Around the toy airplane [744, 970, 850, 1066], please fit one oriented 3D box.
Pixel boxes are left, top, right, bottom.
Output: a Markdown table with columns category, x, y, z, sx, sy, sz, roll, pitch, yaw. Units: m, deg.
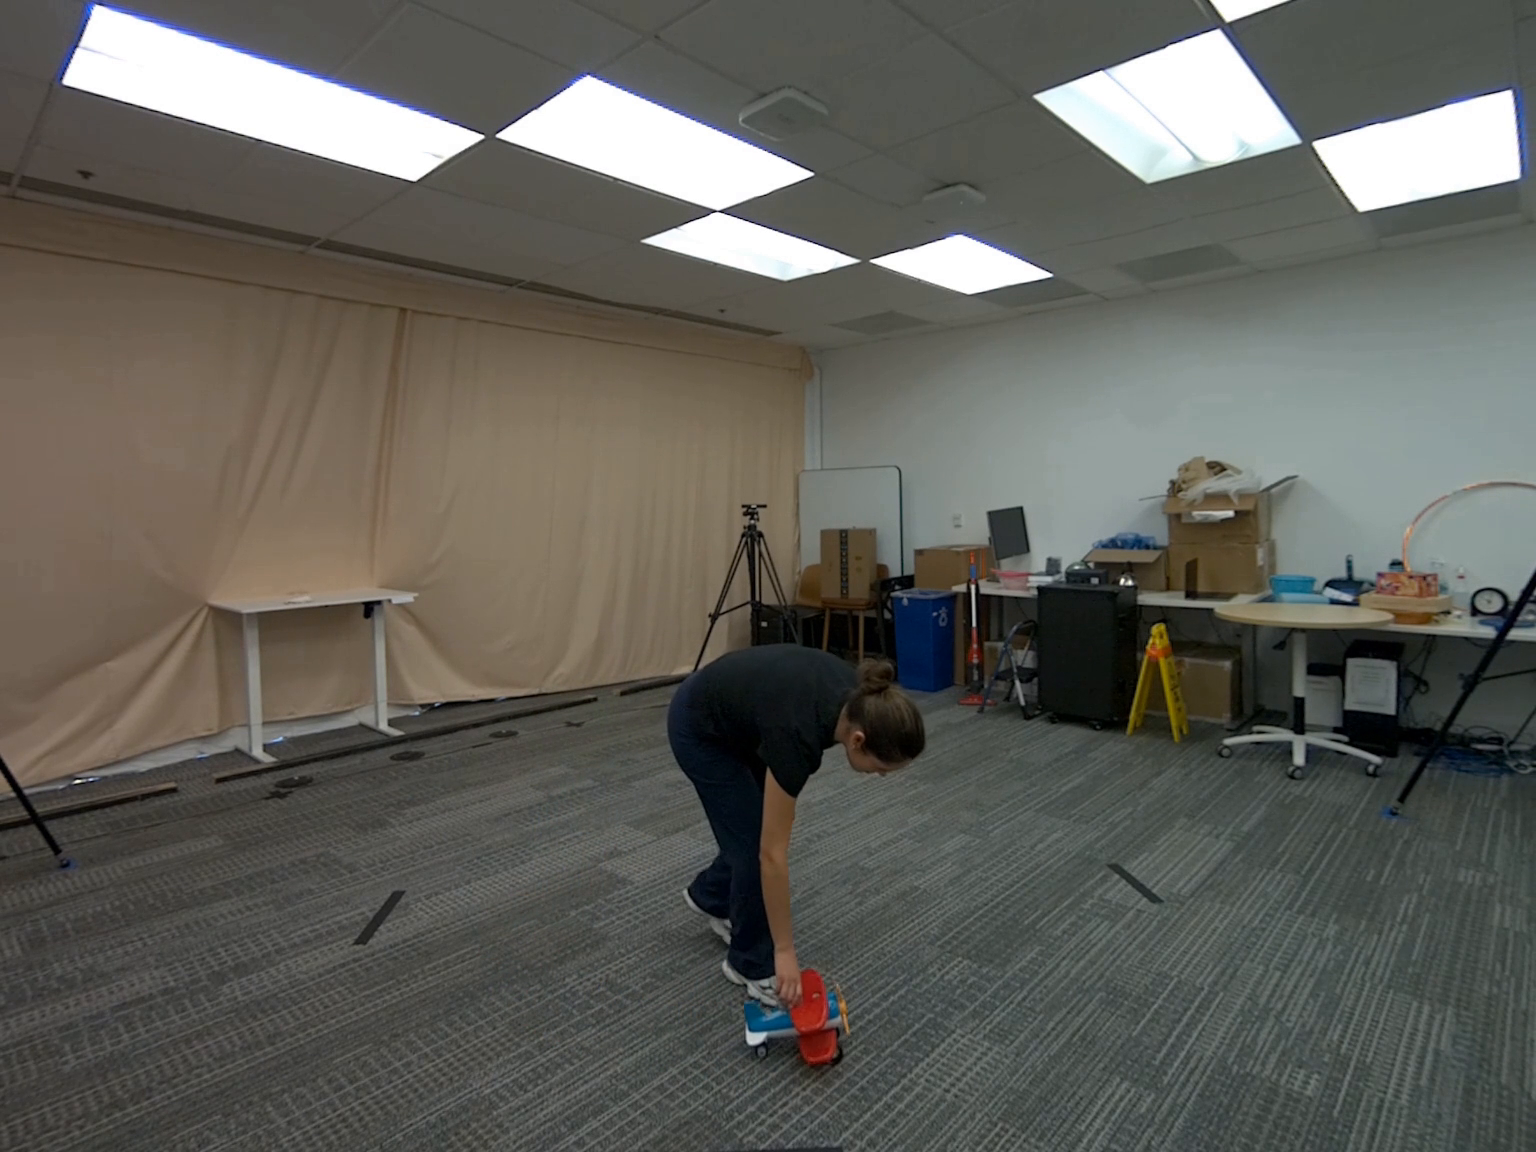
| category | x | y | z | sx | sy | sz | roll | pitch | yaw |
| --- | --- | --- | --- | --- | --- | --- | --- | --- | --- |
| toy airplane | 0.099 | 1.139 | 2.119 | 0.252 | 0.156 | 0.258 | -3 | 4 | -30 |
